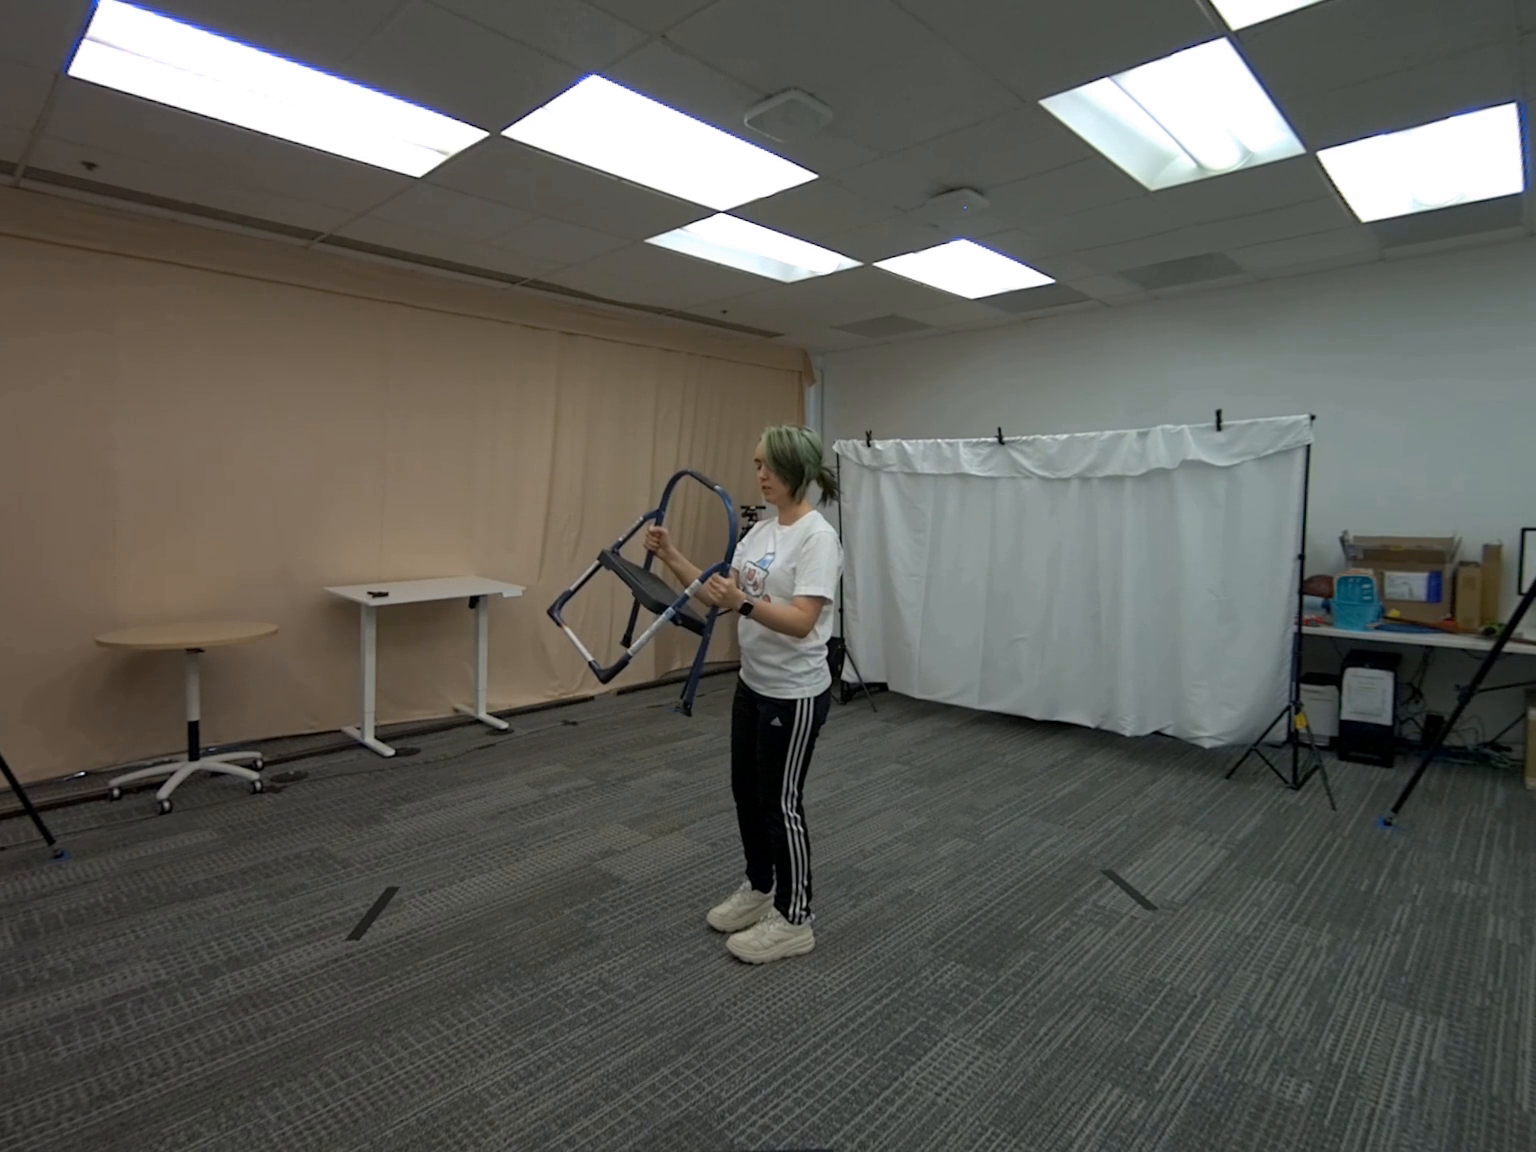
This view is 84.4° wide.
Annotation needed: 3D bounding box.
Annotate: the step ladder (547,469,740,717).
[{"bbox_3d":[-0.284,0.007,2.465,0.336,0.606,0.447,28,5,-43],"label":"step ladder"}]
